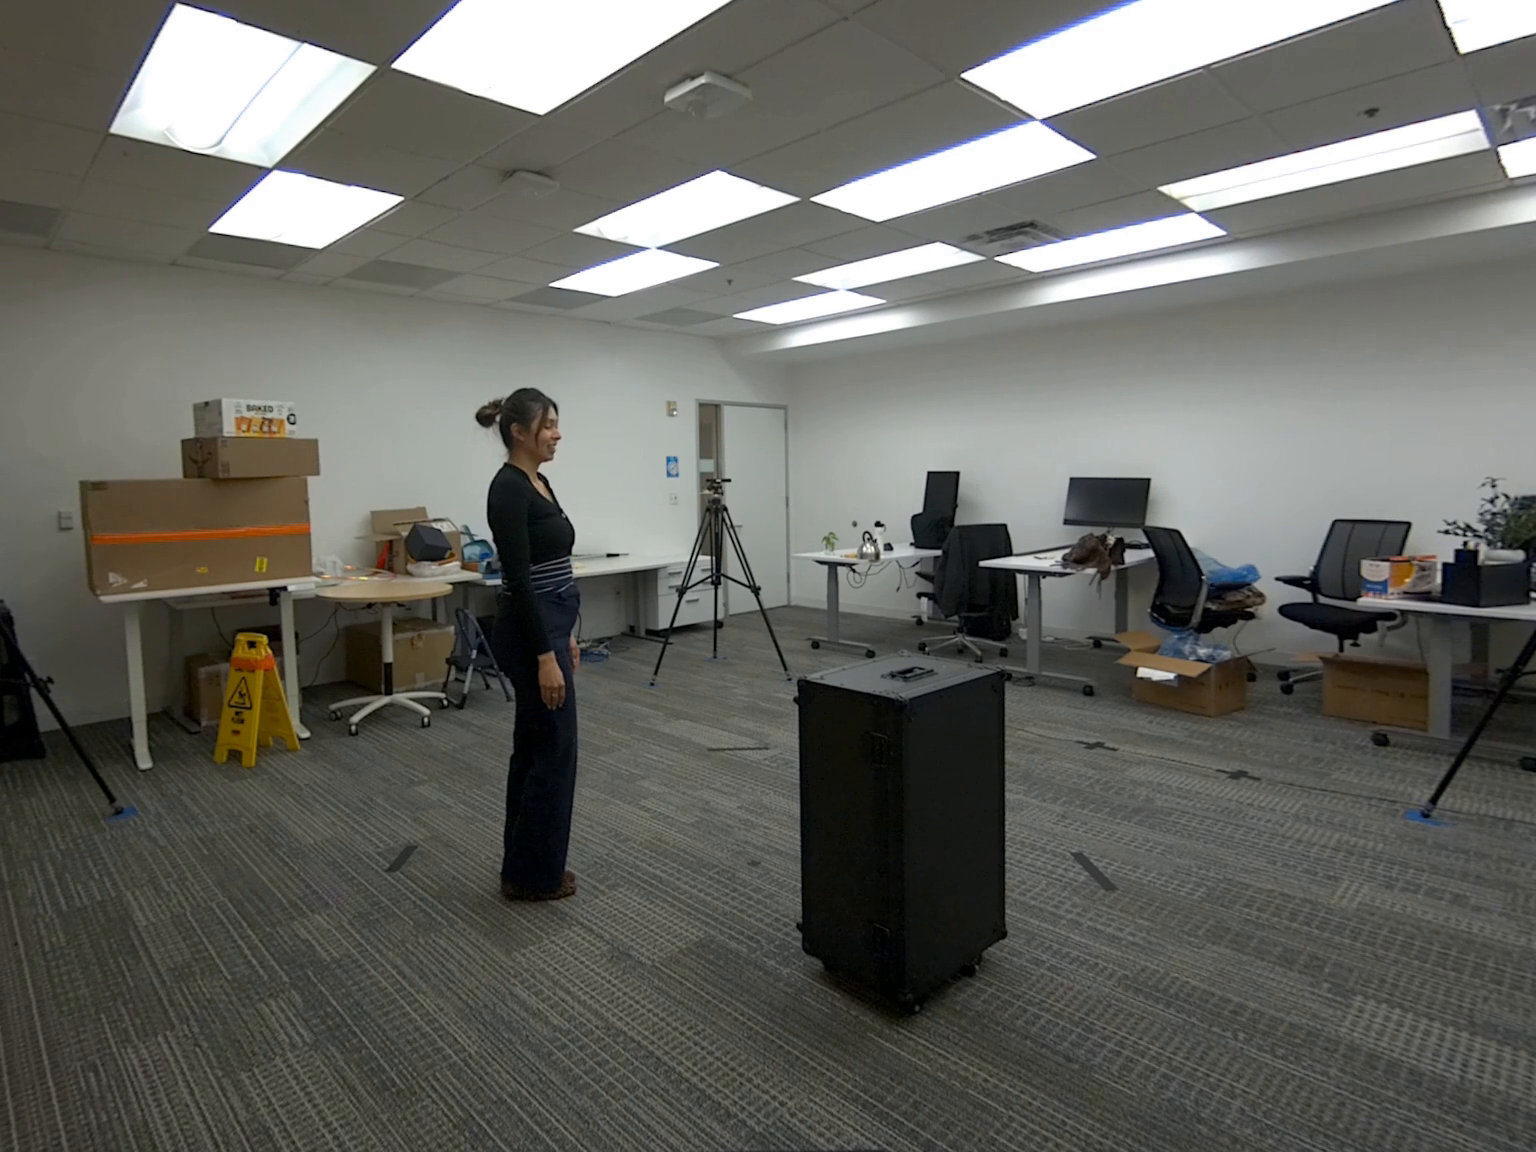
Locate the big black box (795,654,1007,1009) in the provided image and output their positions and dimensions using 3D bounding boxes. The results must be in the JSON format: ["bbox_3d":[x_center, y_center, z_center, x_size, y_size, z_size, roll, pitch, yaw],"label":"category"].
[{"bbox_3d":[0.374,0.691,2.404,0.507,0.859,0.408,-4,4,-43],"label":"big black box"}]
